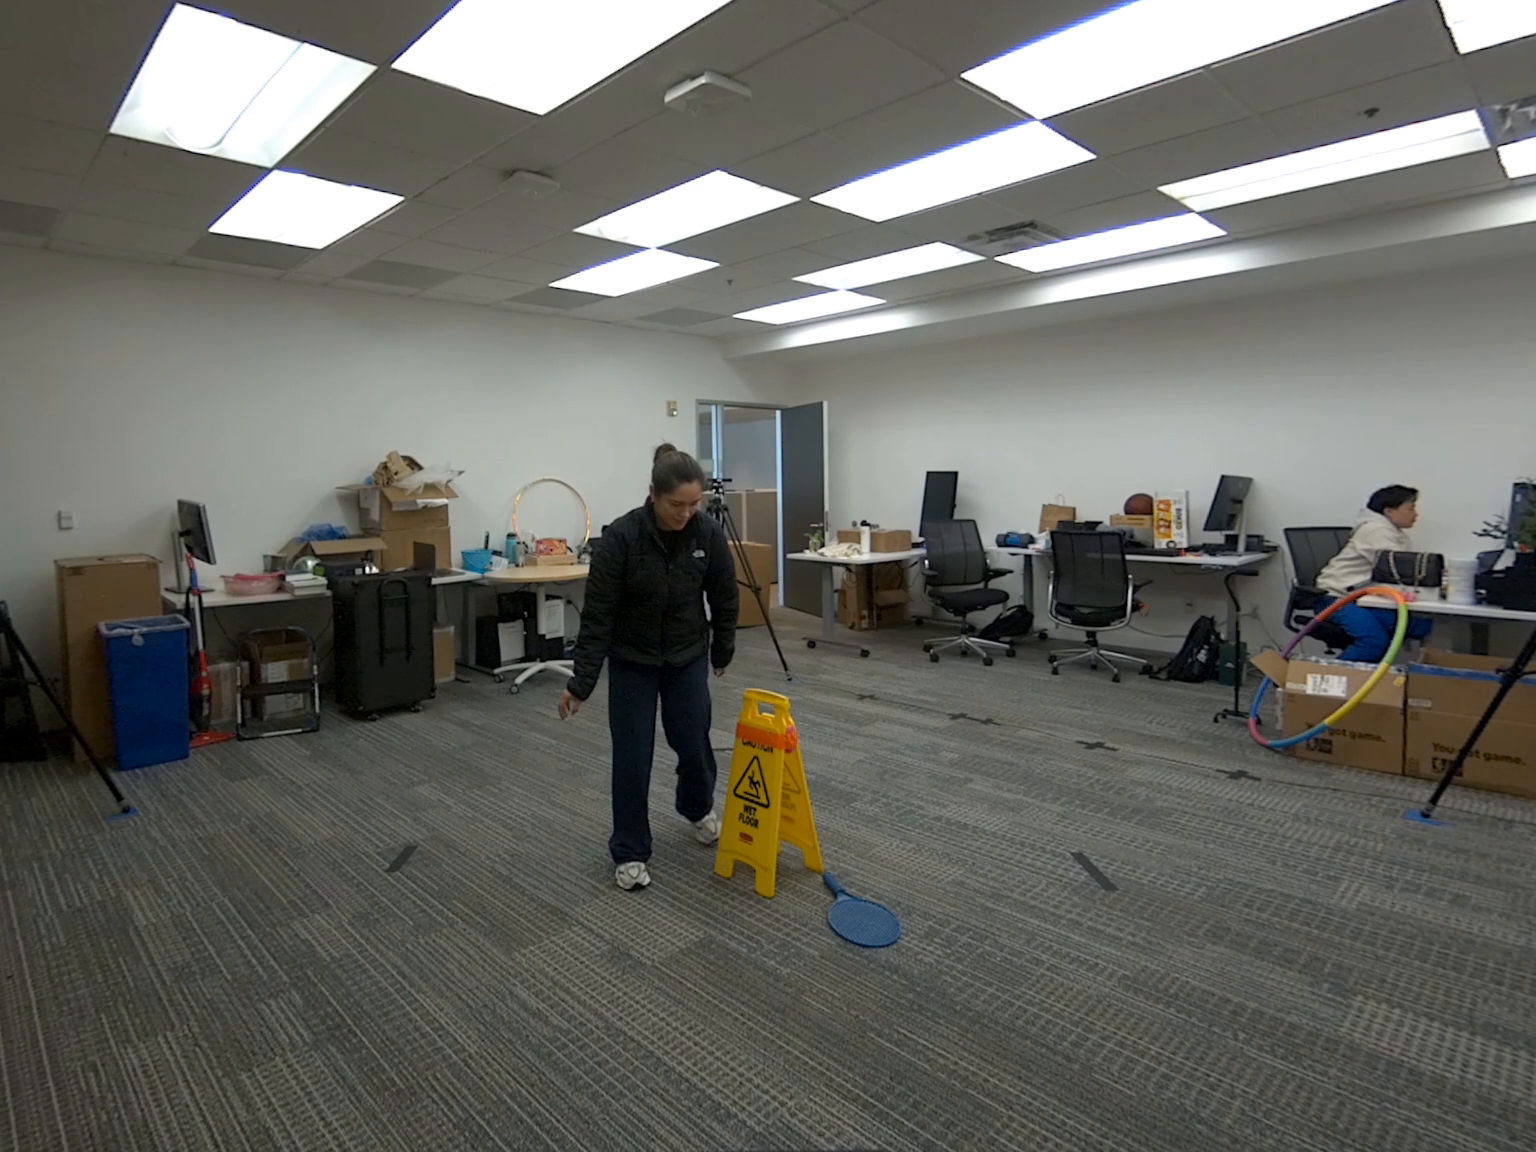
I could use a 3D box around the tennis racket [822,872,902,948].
[{"bbox_3d":[0.272,1.058,2.761,0.210,0.031,0.442,-2,8,-17],"label":"tennis racket"}]
